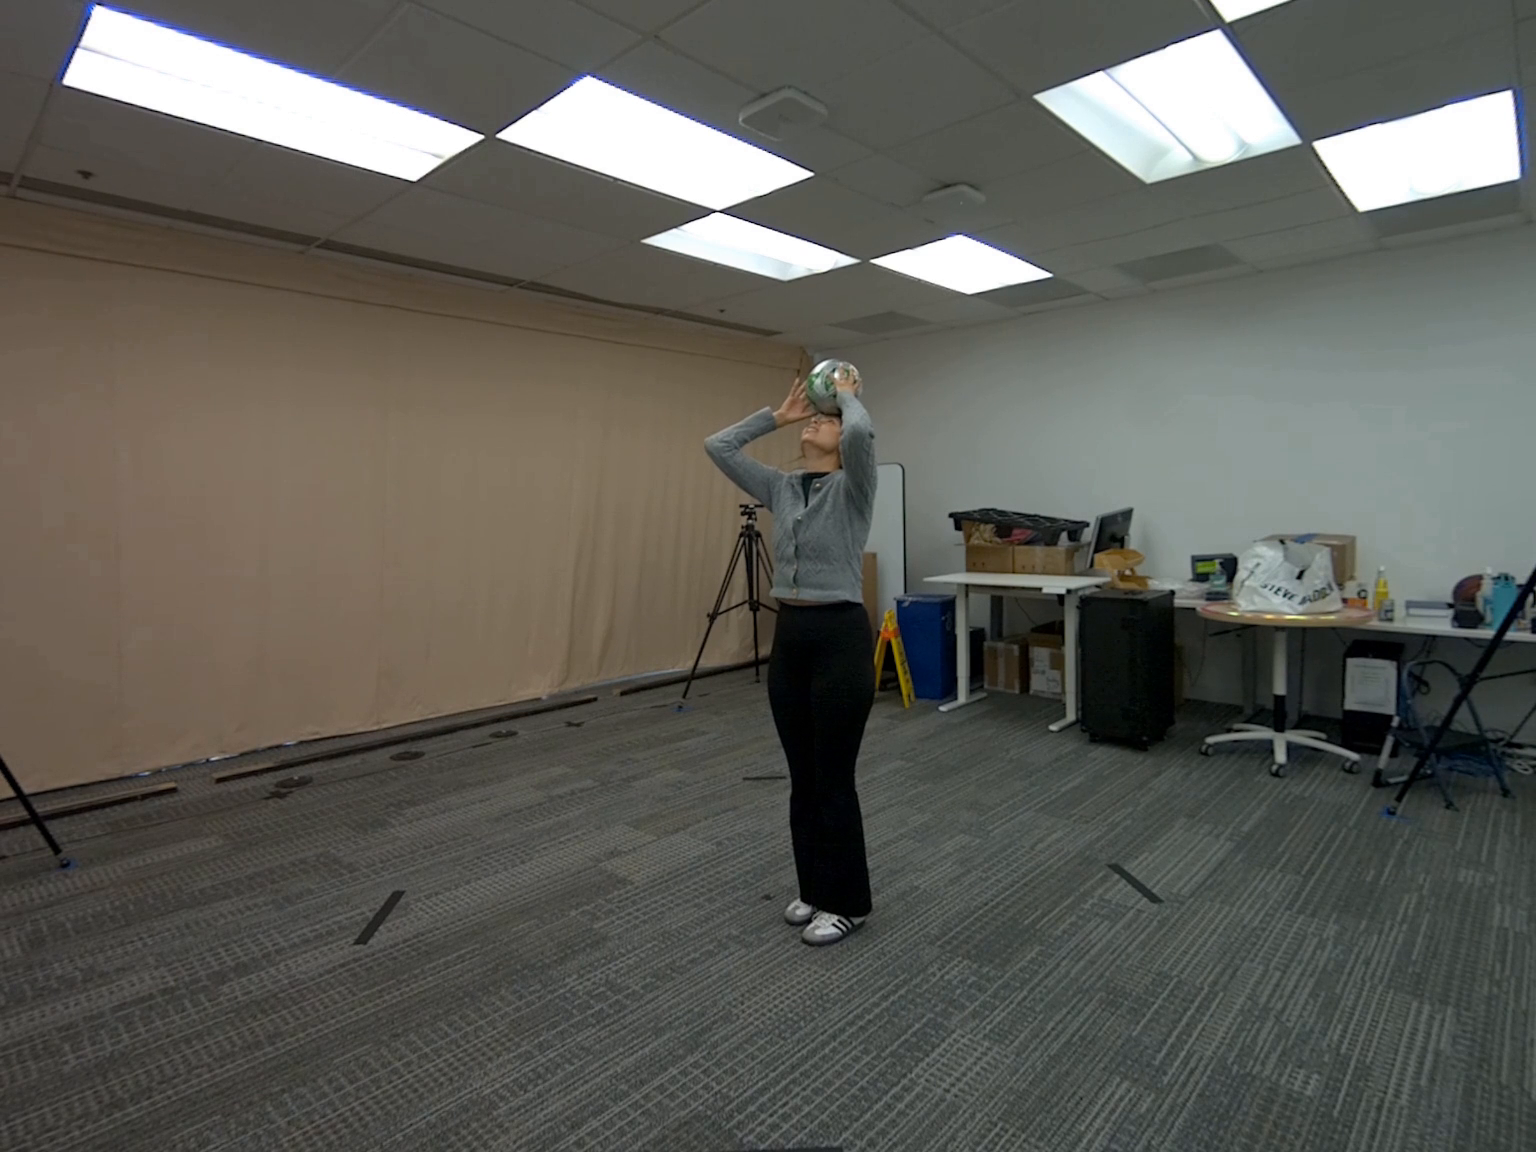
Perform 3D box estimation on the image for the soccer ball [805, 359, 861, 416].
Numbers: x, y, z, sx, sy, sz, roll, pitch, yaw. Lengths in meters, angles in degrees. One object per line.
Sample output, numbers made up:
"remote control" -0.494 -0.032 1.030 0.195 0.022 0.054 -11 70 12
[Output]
"soccer ball" 0.223 -0.621 2.796 0.187 0.187 0.188 -1 4 -2
